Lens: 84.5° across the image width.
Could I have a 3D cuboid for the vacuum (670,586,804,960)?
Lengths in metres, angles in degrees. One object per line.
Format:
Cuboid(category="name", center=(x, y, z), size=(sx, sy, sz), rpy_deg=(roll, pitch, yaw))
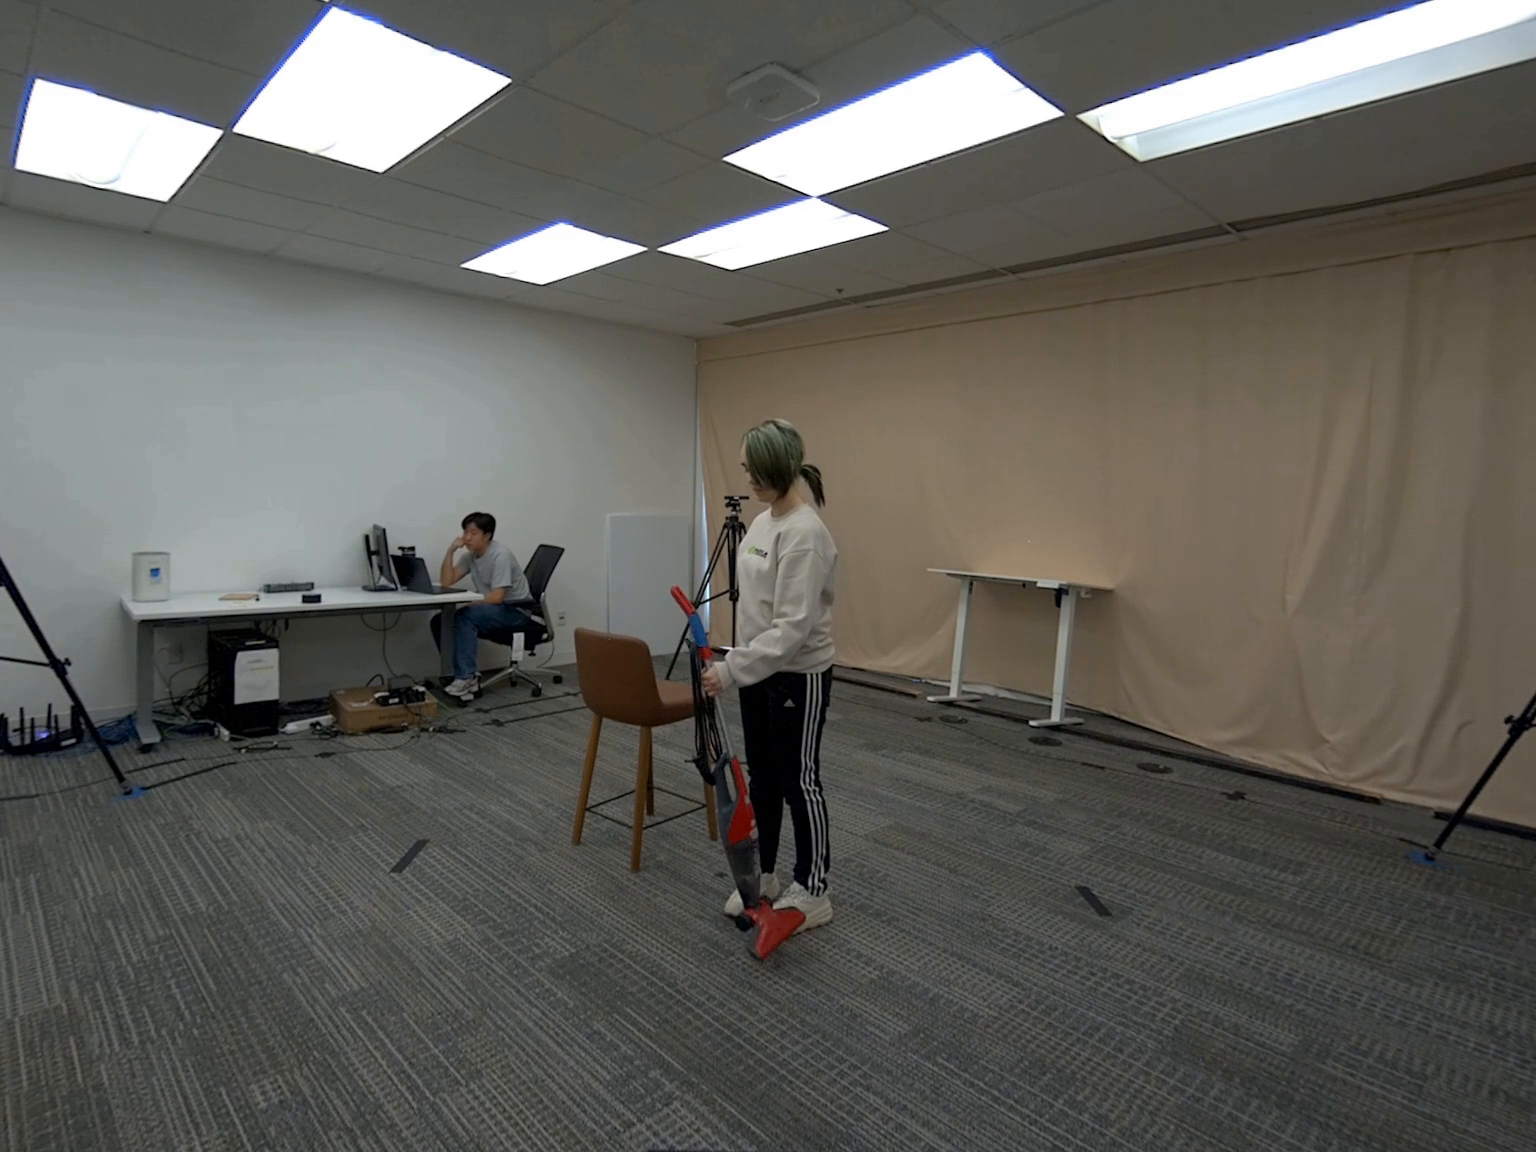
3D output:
Cuboid(category="vacuum", center=(-0.153, 0.552, 2.538), size=(0.146, 1.051, 0.248), rpy_deg=(-17, -2, 41))
